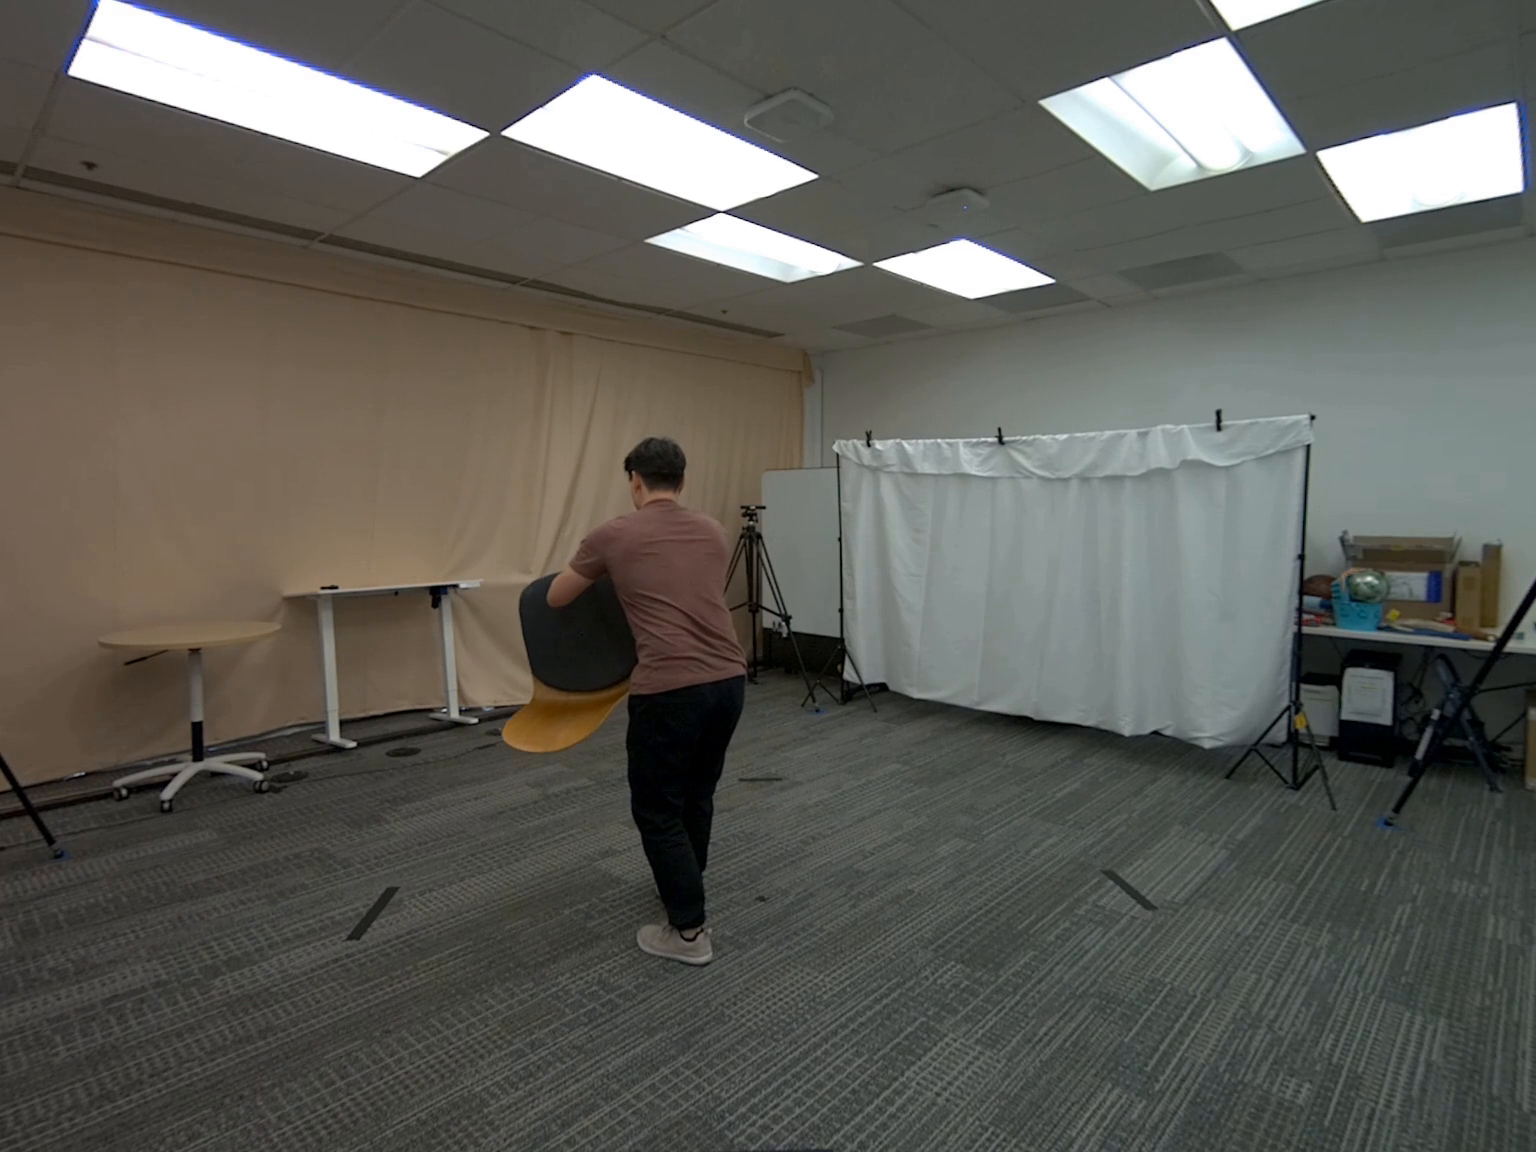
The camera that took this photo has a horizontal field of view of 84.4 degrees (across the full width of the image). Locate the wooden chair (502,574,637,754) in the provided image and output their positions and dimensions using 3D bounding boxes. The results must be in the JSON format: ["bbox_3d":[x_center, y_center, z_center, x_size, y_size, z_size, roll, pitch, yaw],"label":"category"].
[{"bbox_3d":[-0.644,0.232,3.039,0.486,0.521,0.867,-13,6,17],"label":"wooden chair"}]
